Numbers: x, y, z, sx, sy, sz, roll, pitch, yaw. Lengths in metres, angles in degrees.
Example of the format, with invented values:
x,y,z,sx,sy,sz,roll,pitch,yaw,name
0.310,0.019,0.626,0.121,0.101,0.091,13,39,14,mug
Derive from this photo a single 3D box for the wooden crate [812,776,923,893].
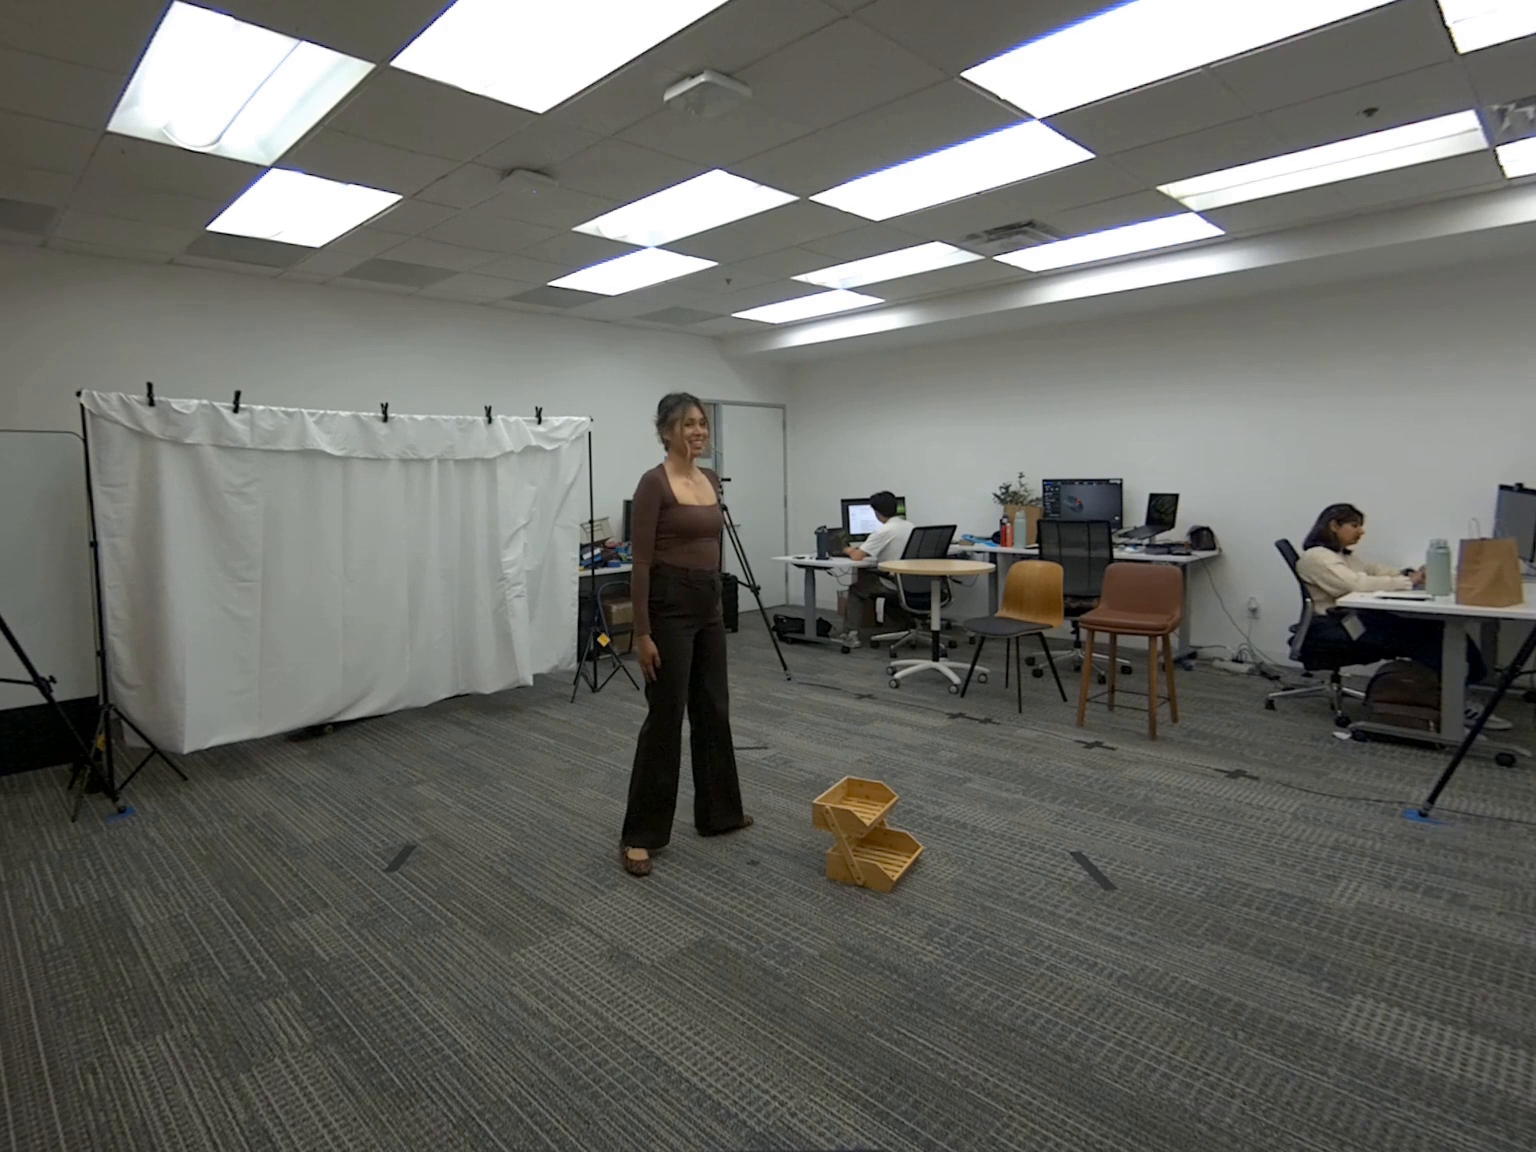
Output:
x,y,z,sx,sy,sz,roll,pitch,yaw,name
0.365,0.906,3.047,0.310,0.272,0.317,1,6,31,wooden crate
